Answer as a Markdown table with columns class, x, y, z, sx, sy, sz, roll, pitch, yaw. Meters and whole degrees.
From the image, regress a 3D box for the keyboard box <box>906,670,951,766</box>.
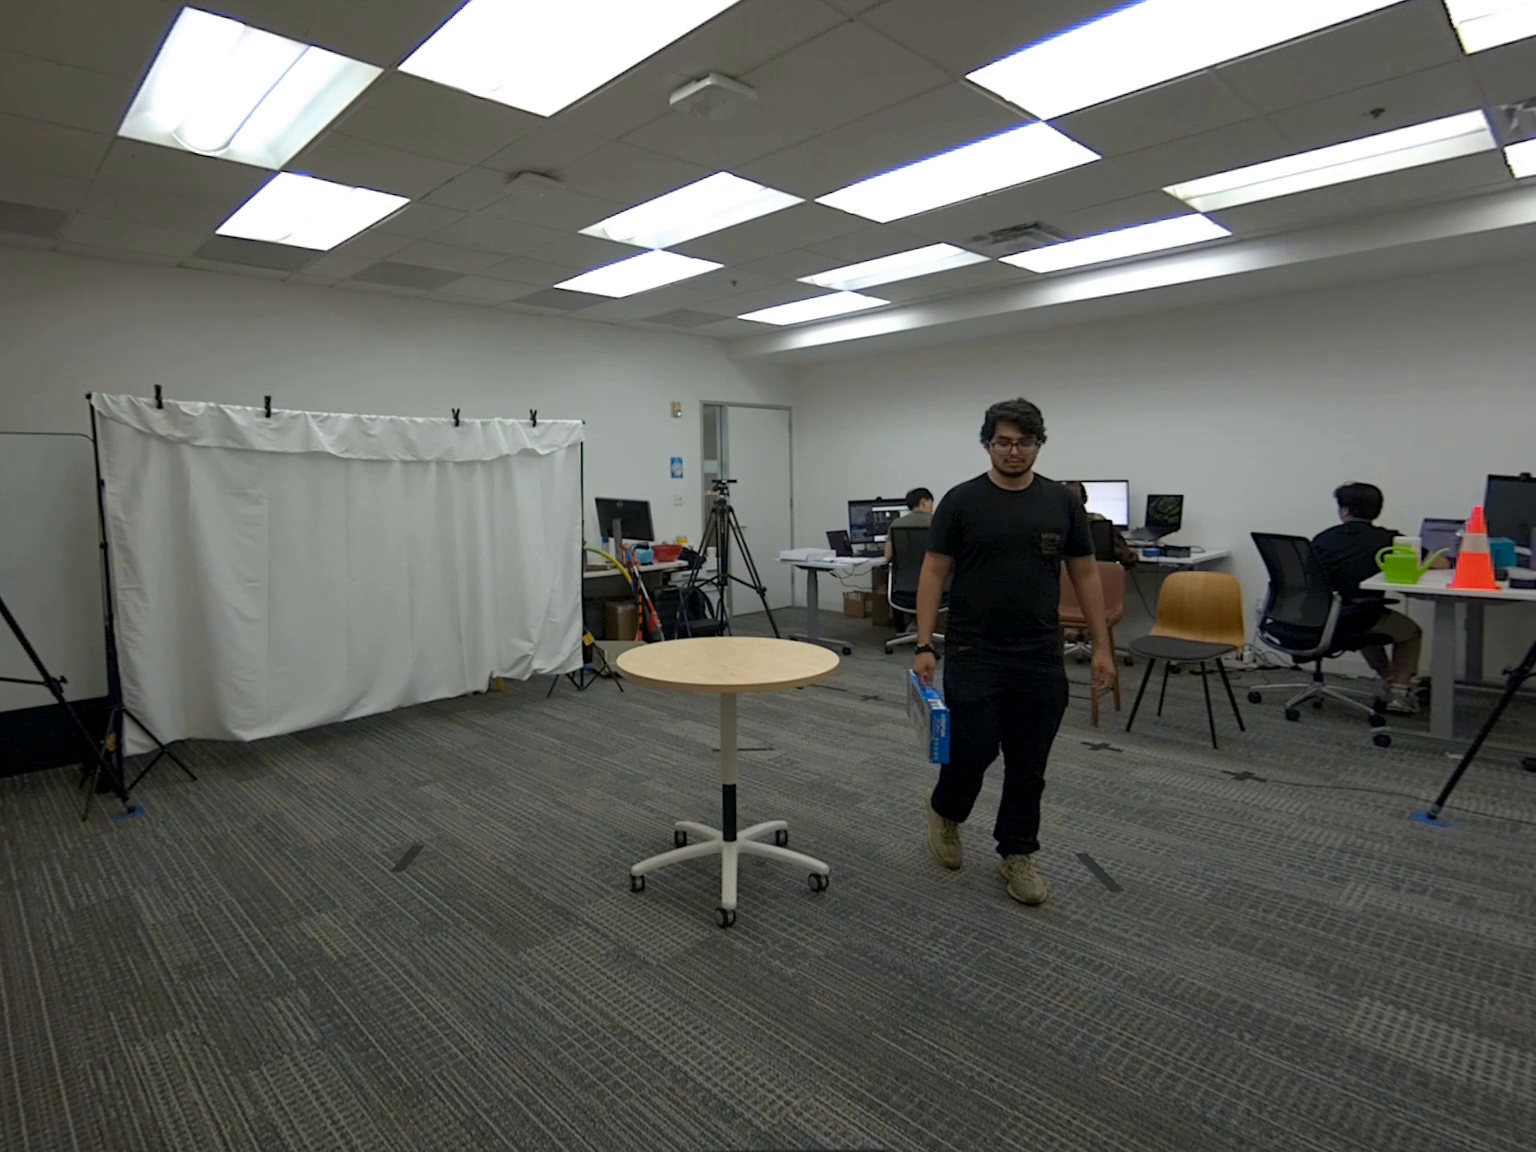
| class | x | y | z | sx | sy | sz | roll | pitch | yaw |
| --- | --- | --- | --- | --- | --- | --- | --- | --- | --- |
| keyboard box | 0.519 | 0.445 | 2.824 | 0.059 | 0.175 | 0.439 | -2 | 9 | 1 |
